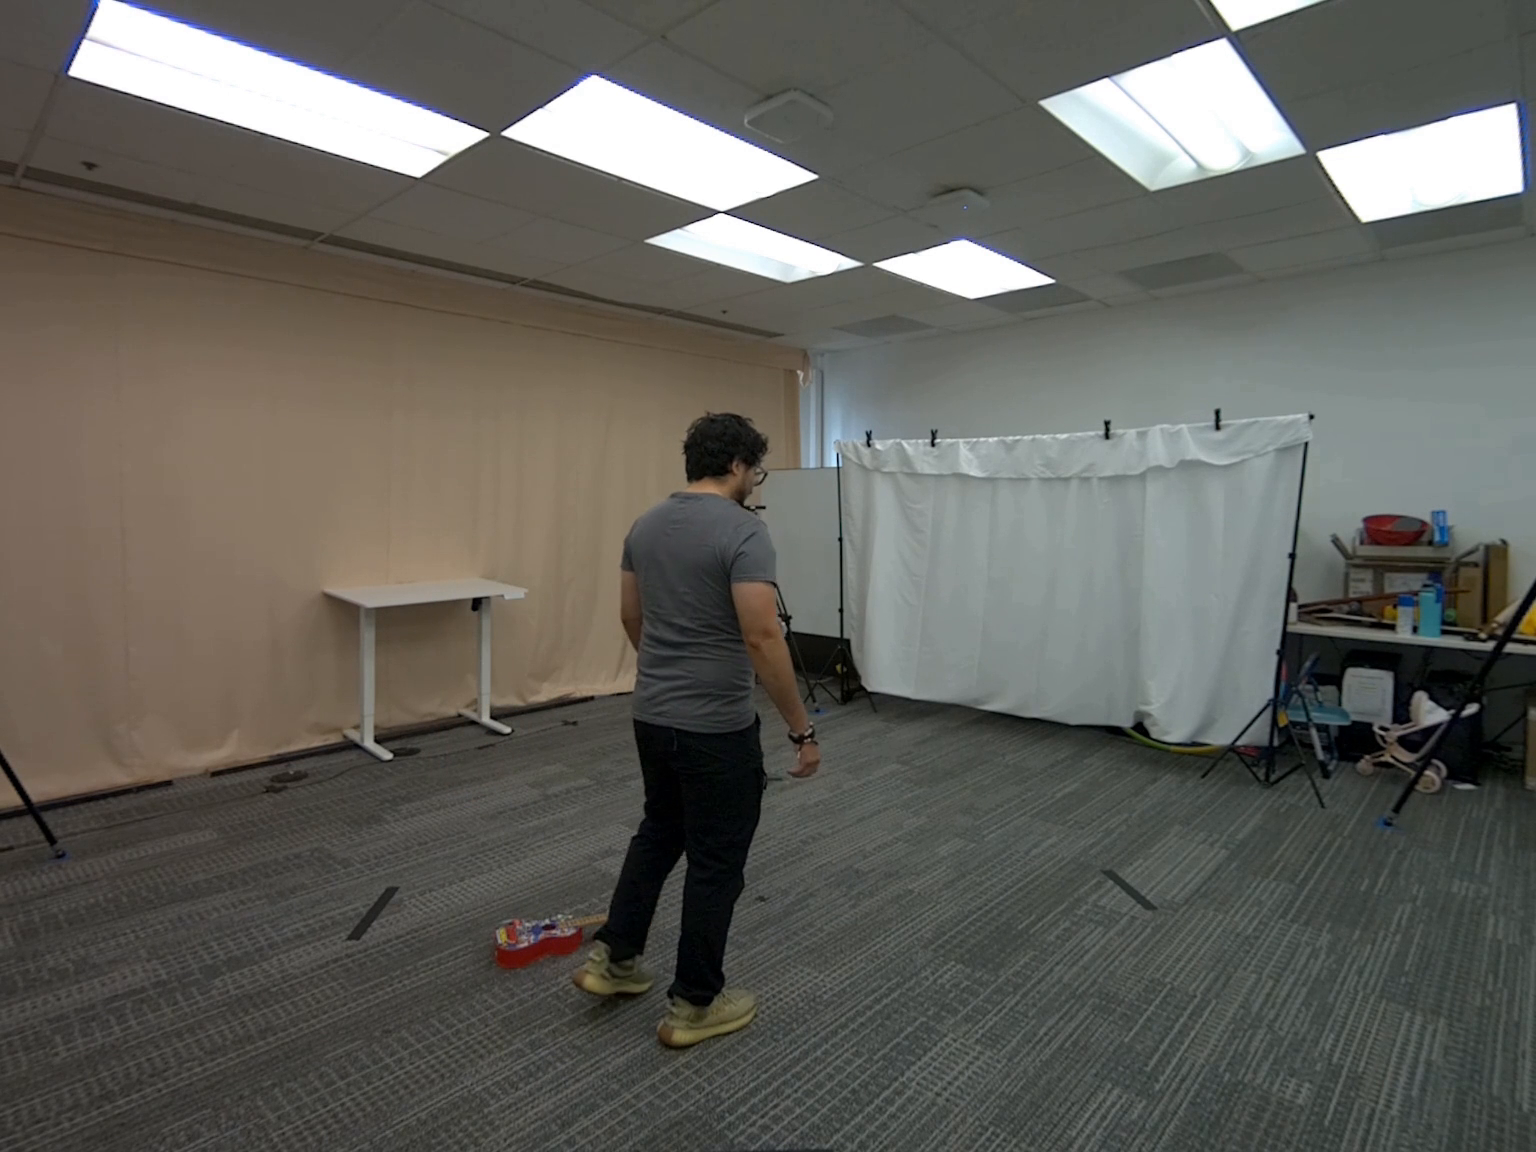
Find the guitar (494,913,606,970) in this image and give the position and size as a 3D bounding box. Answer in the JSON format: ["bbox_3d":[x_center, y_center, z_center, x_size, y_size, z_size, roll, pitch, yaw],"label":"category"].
[{"bbox_3d":[-0.620,1.142,2.666,0.492,0.070,0.196,-1,5,-11],"label":"guitar"}]
